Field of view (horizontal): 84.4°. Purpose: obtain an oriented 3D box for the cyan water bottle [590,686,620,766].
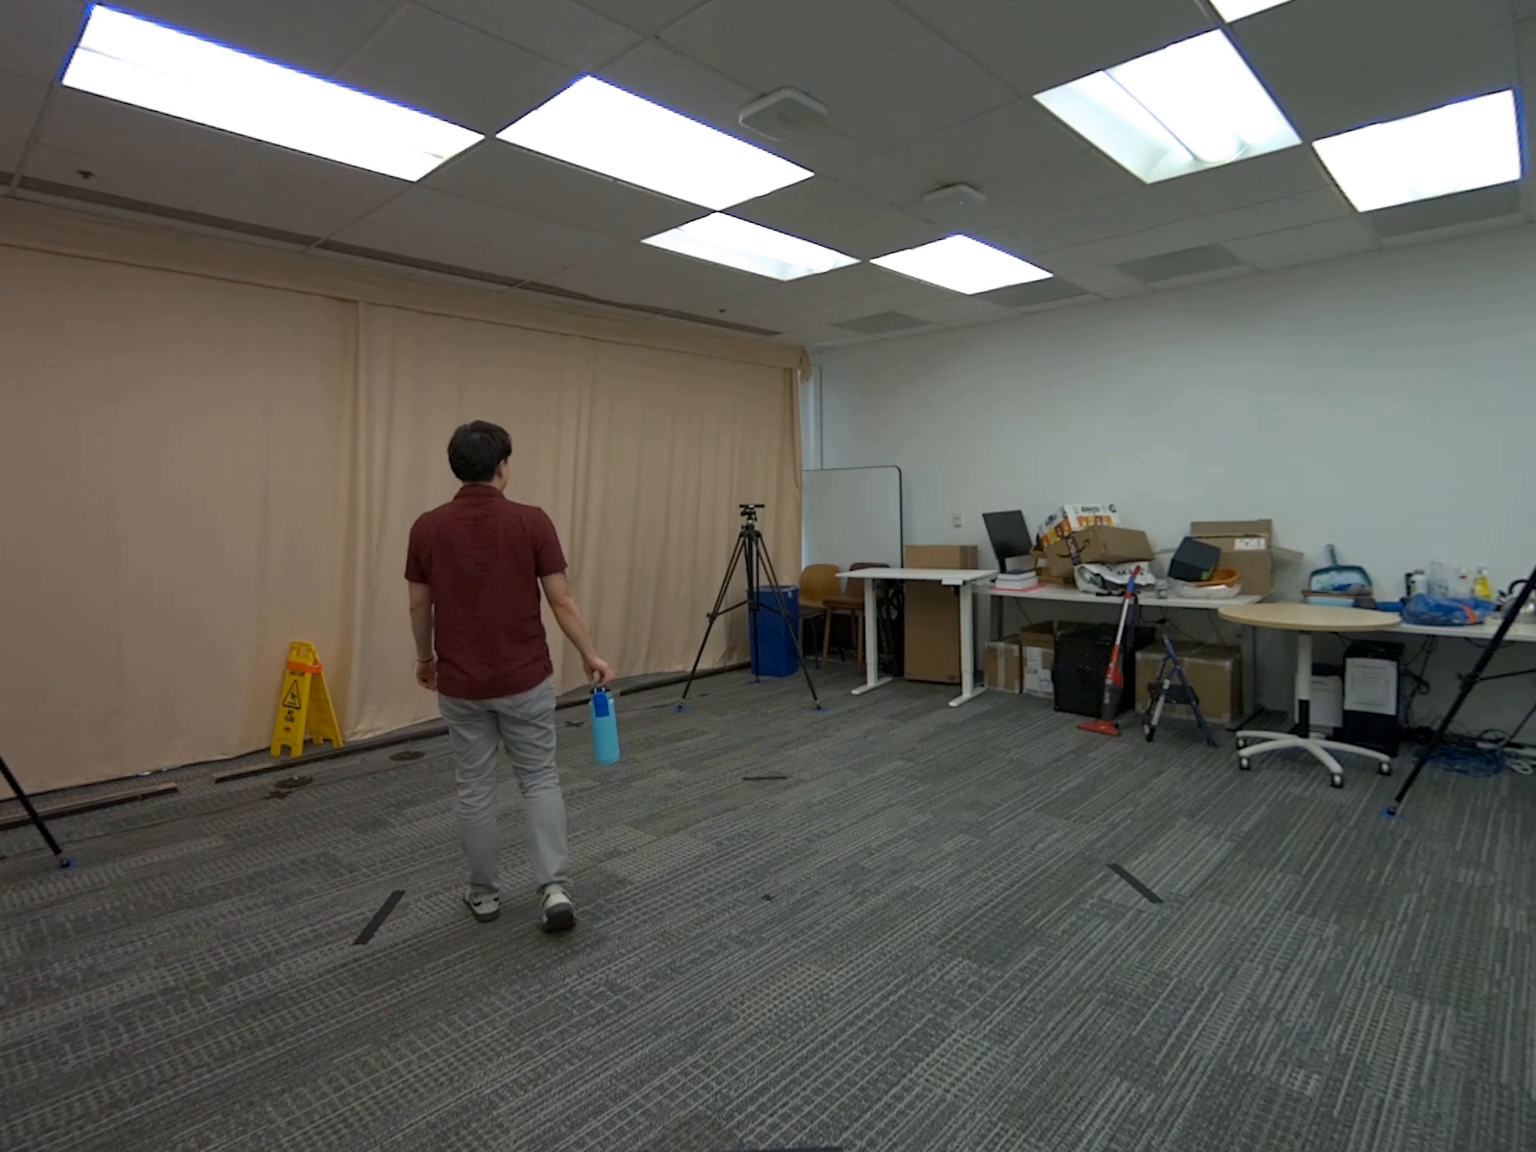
[{"bbox_3d":[-0.592,0.524,2.974,0.092,0.282,0.093,-3,8,-1],"label":"cyan water bottle"}]
